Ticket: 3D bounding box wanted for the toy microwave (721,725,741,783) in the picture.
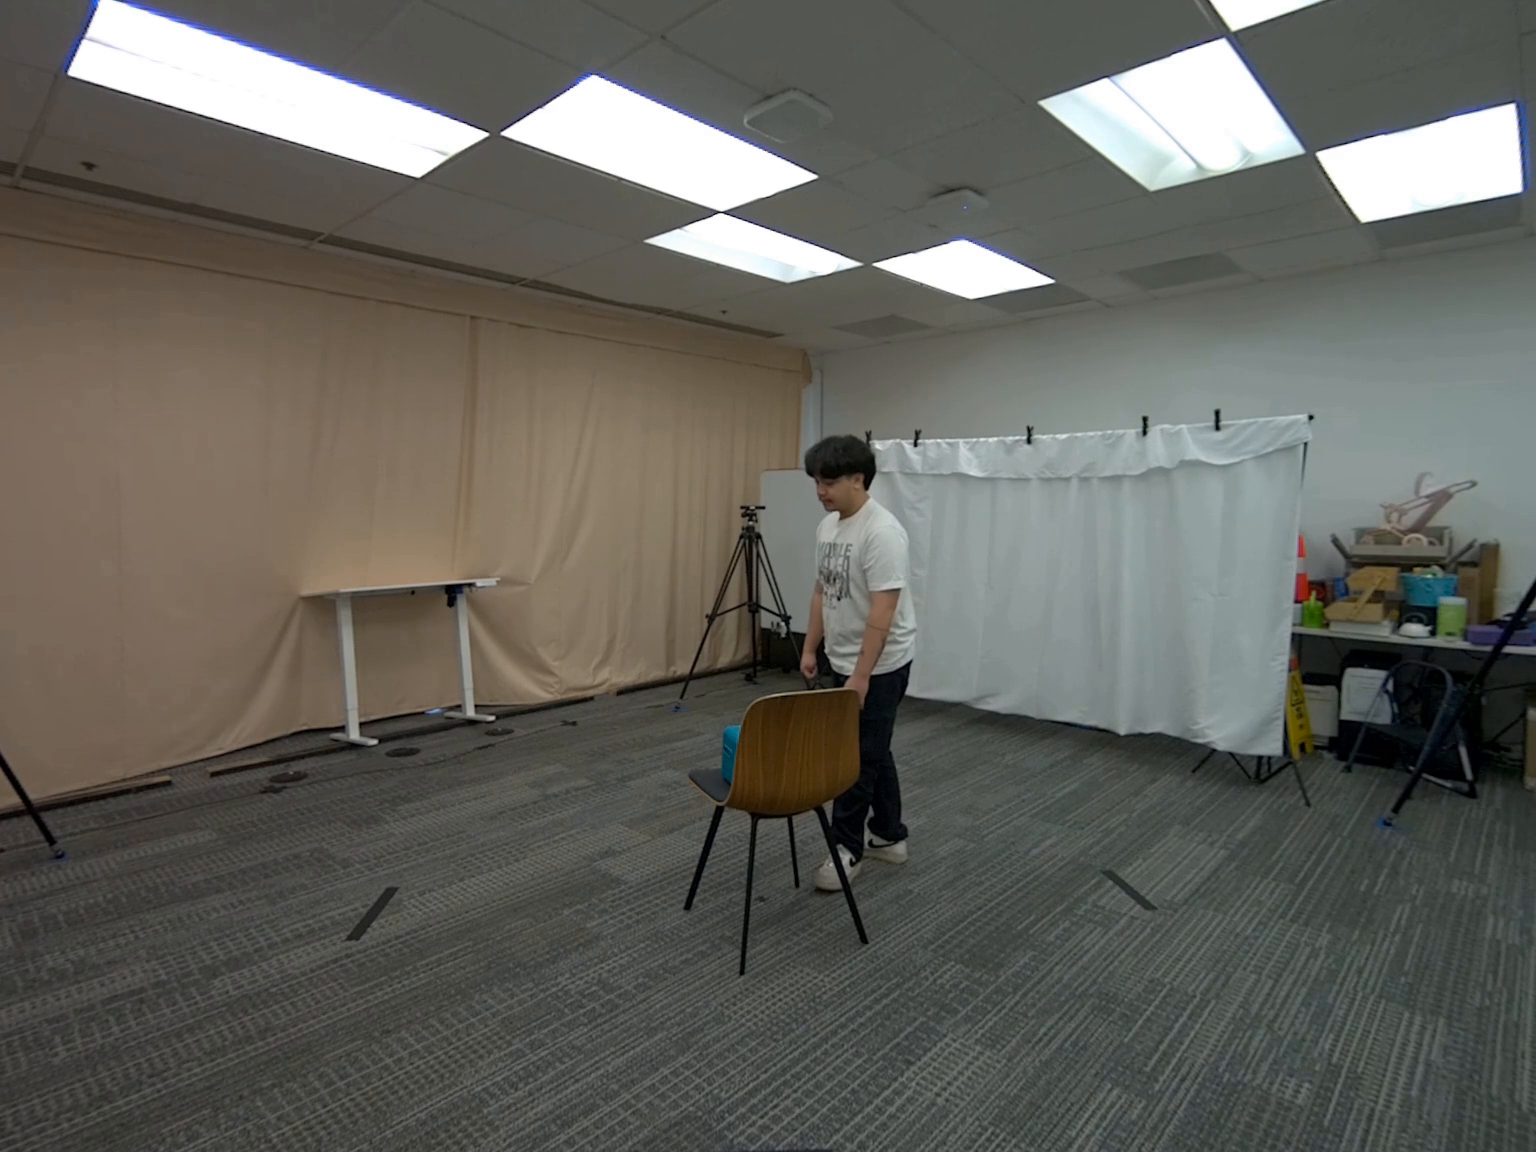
[{"bbox_3d":[0.004,0.589,2.777,0.280,0.183,0.156,-1,8,-22],"label":"toy microwave"}]
